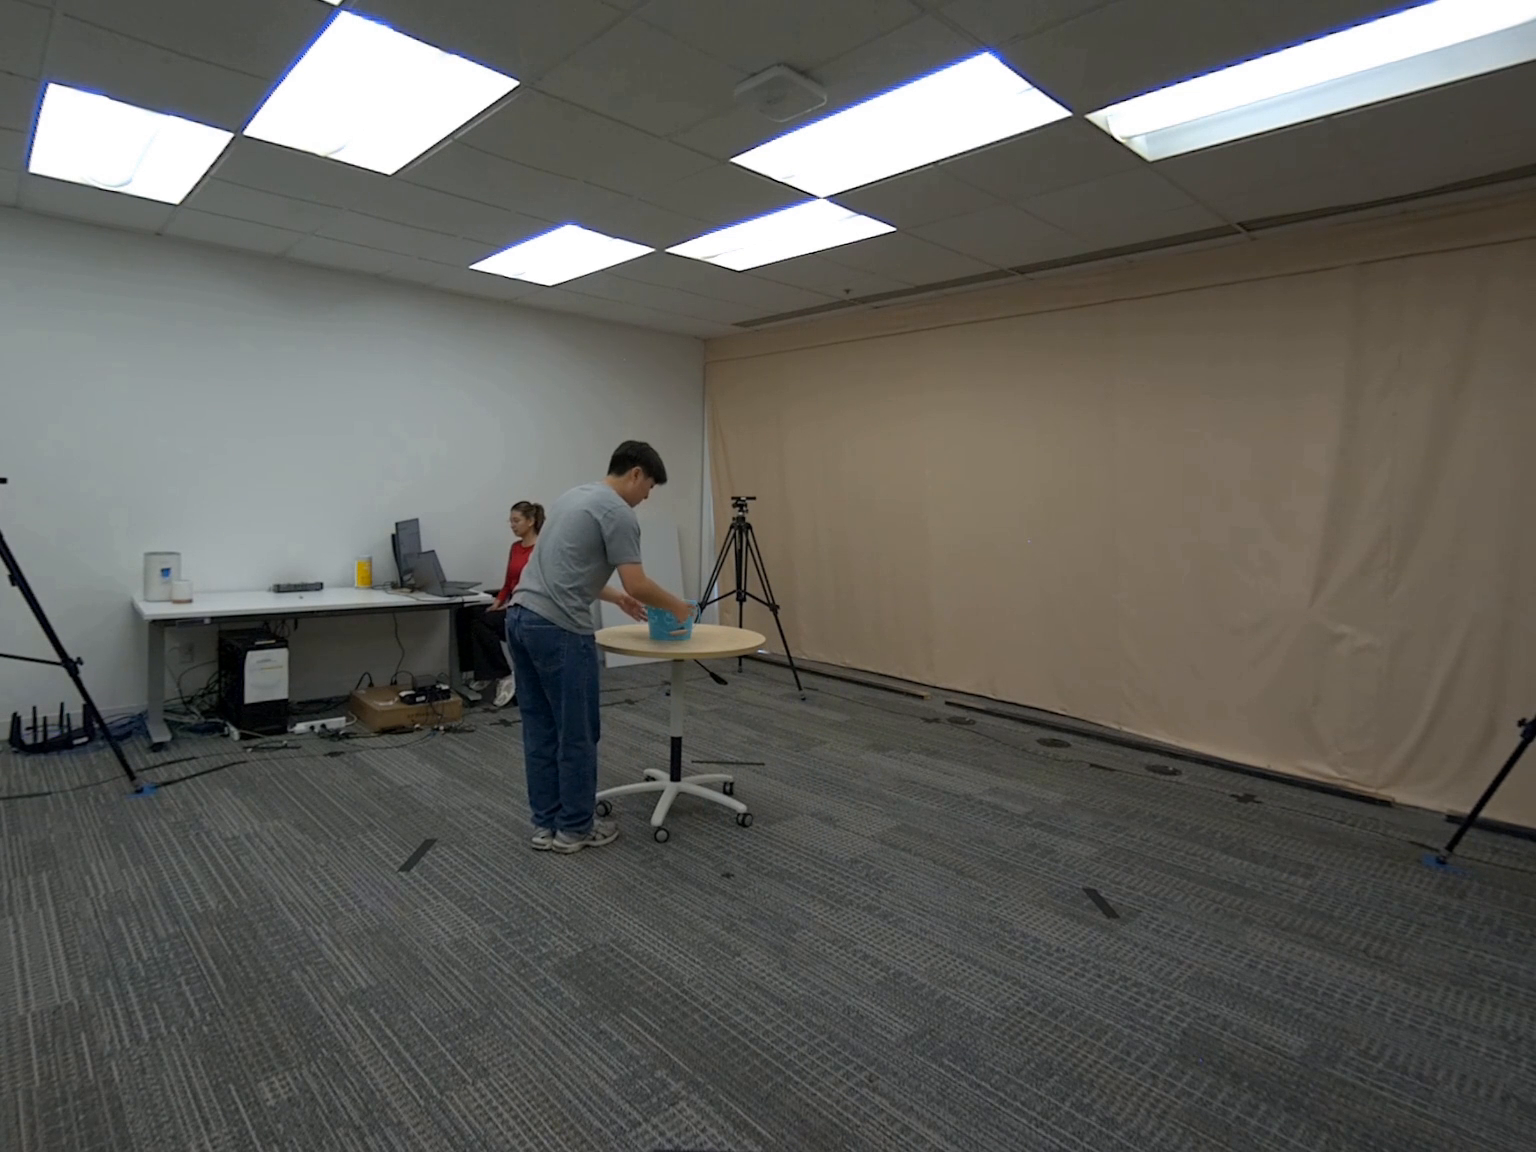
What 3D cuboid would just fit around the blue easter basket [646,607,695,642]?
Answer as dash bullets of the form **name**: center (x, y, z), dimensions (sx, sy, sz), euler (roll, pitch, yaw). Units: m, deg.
- **blue easter basket**: center (-0.438, 0.194, 3.670), dimensions (0.243, 0.155, 0.244), euler (1, 4, -1)
